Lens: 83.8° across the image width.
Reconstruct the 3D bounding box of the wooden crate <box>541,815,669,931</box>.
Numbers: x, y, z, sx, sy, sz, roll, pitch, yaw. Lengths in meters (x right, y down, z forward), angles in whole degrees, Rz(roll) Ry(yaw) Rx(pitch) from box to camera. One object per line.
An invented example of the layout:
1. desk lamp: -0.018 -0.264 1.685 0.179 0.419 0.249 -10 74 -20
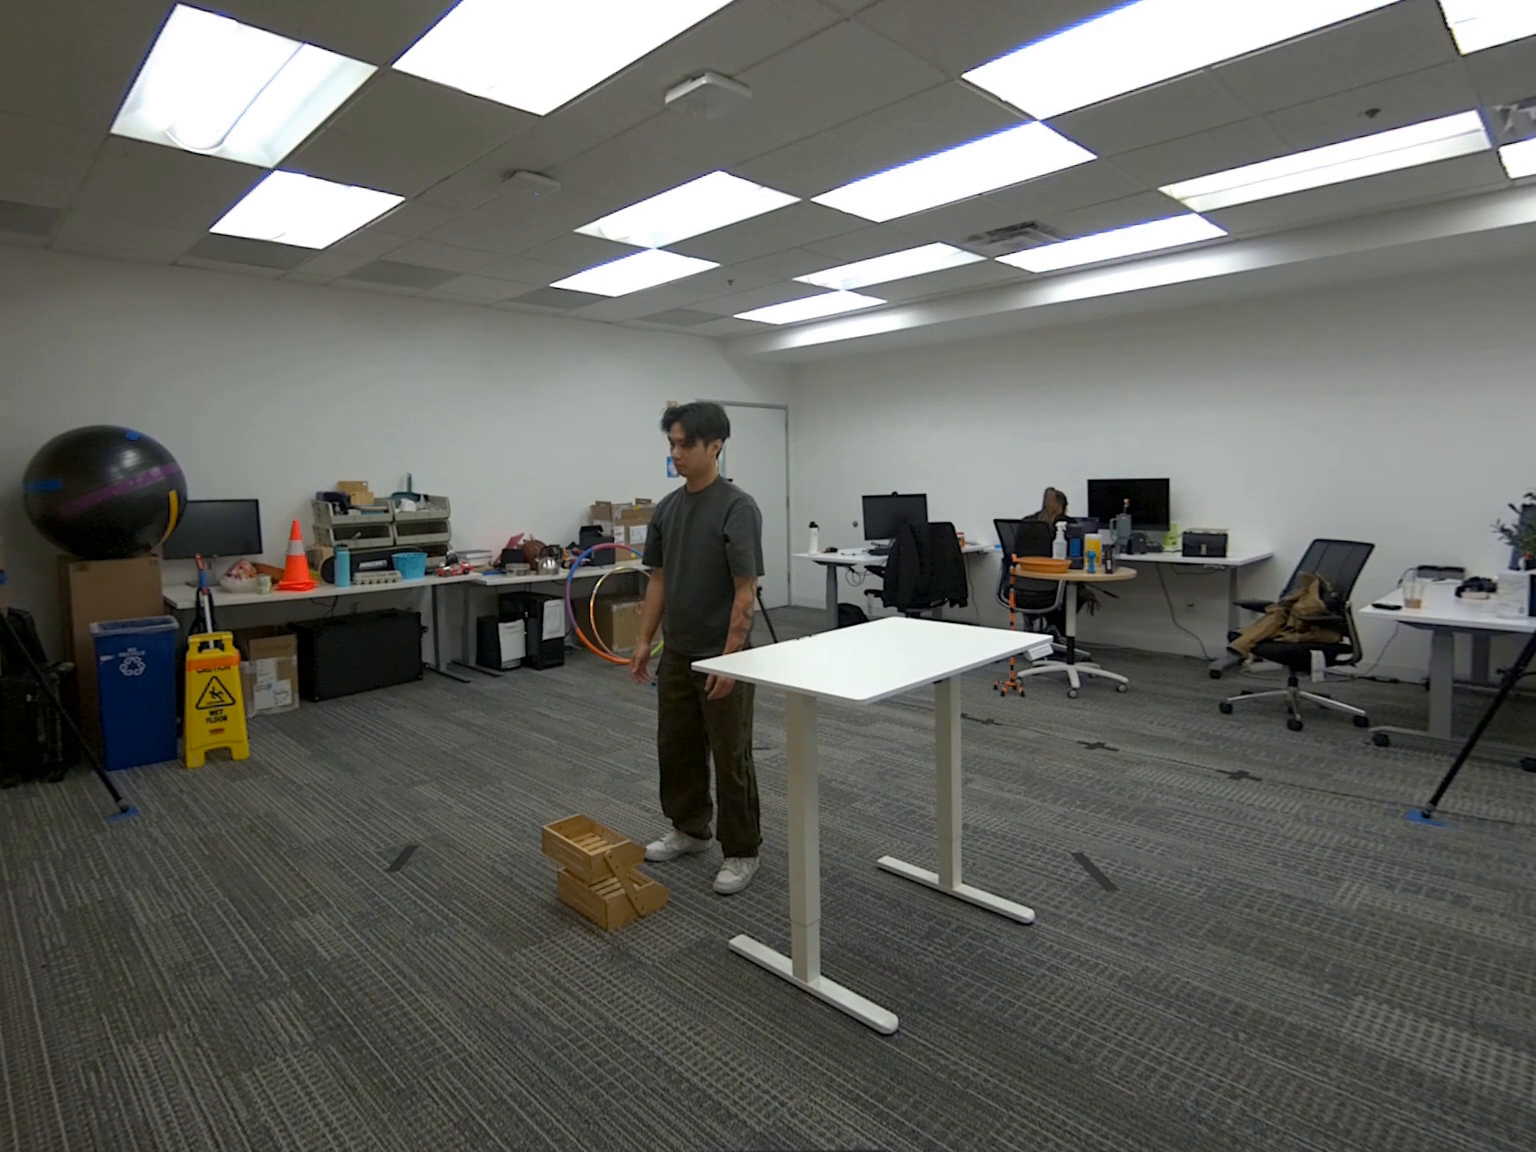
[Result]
1. wooden crate: -0.533 0.952 2.826 0.294 0.272 0.335 -7 9 -43
